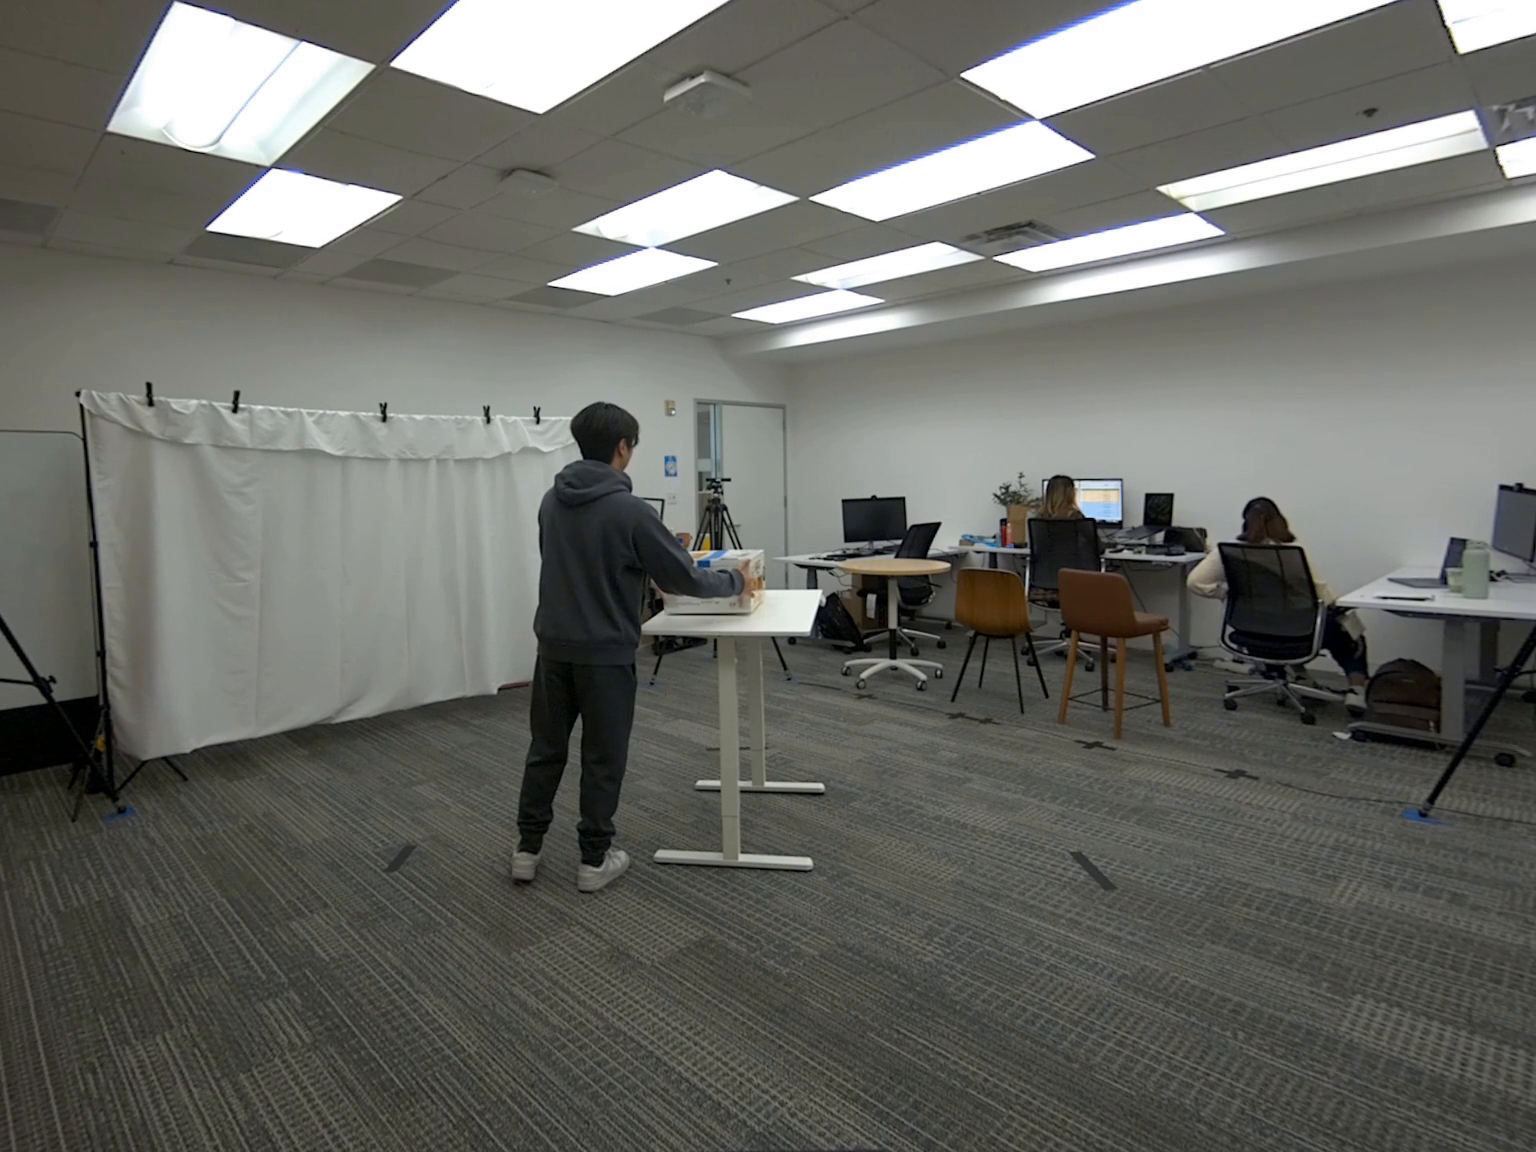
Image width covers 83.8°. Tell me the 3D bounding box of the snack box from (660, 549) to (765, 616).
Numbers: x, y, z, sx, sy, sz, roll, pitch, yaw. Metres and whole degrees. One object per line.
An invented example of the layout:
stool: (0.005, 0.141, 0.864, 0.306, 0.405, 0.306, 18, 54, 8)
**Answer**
snack box: (-0.205, 0.016, 3.412, 0.344, 0.205, 0.403, -2, 6, 9)
